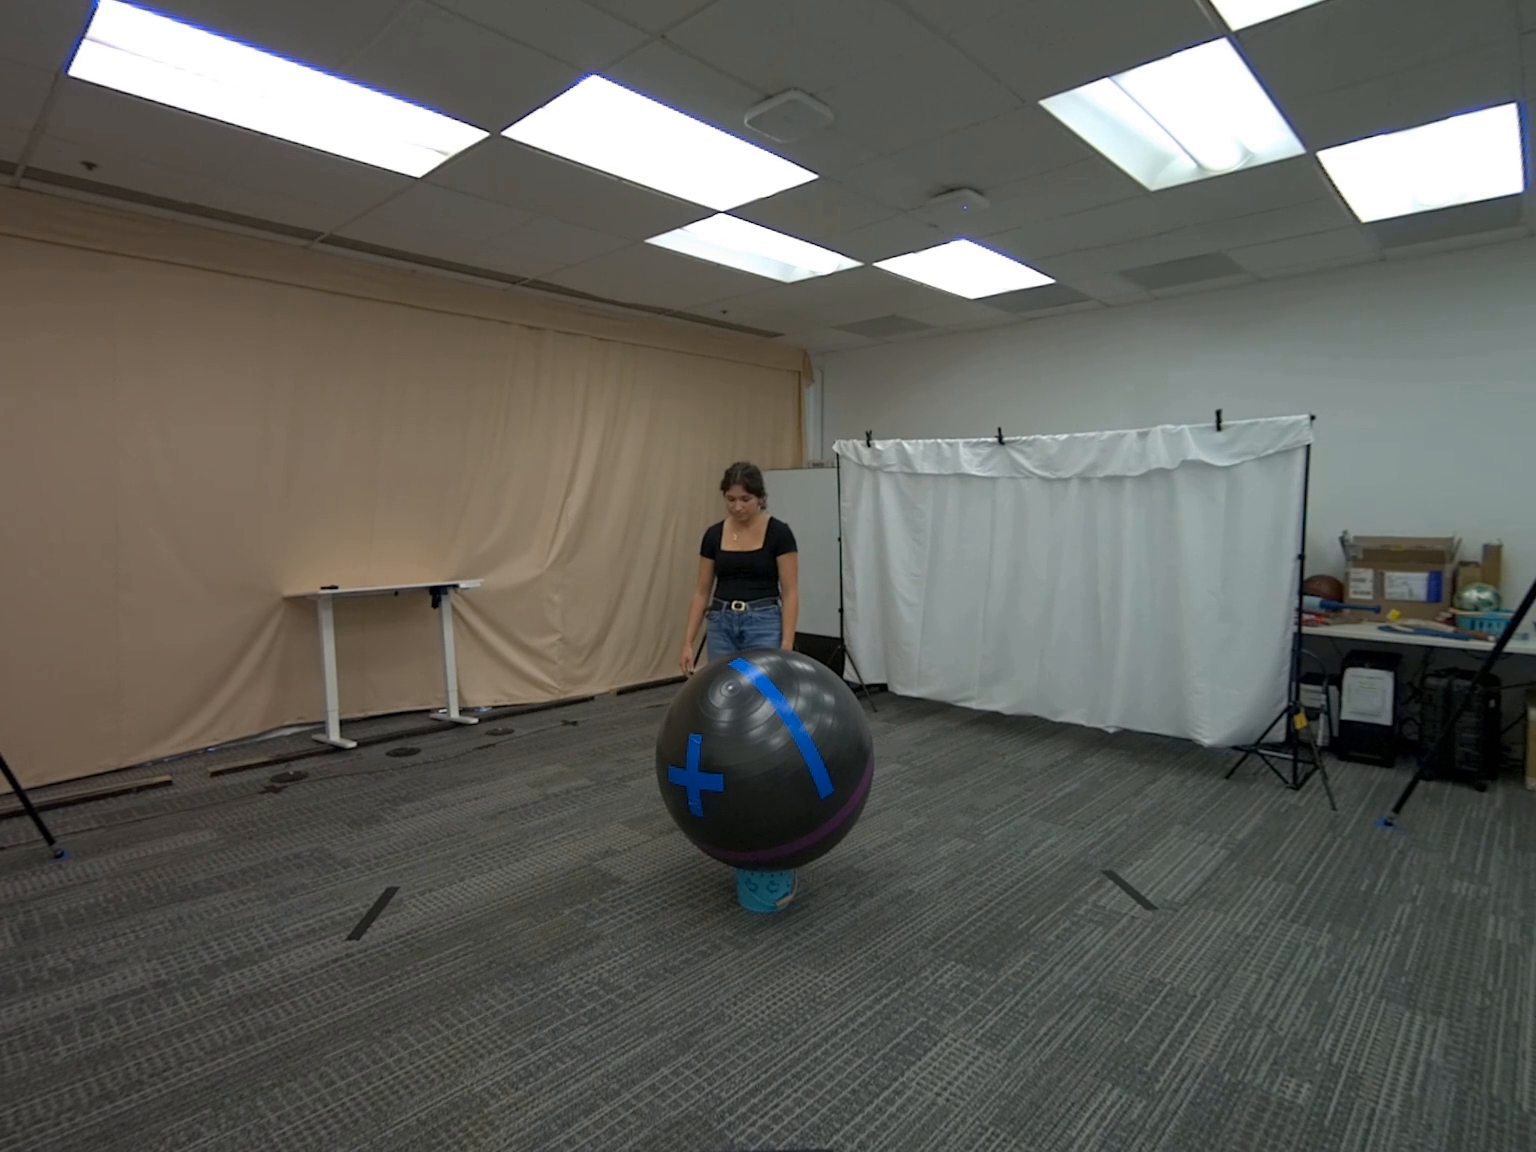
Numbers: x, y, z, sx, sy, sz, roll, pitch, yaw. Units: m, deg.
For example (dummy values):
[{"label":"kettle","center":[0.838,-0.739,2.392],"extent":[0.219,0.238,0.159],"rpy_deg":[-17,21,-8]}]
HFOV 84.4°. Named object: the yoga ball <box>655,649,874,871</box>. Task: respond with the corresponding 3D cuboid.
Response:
[{"label":"yoga ball","center":[-0.009,0.635,2.944],"extent":[0.757,0.756,0.760],"rpy_deg":[0,4,-2]}]
